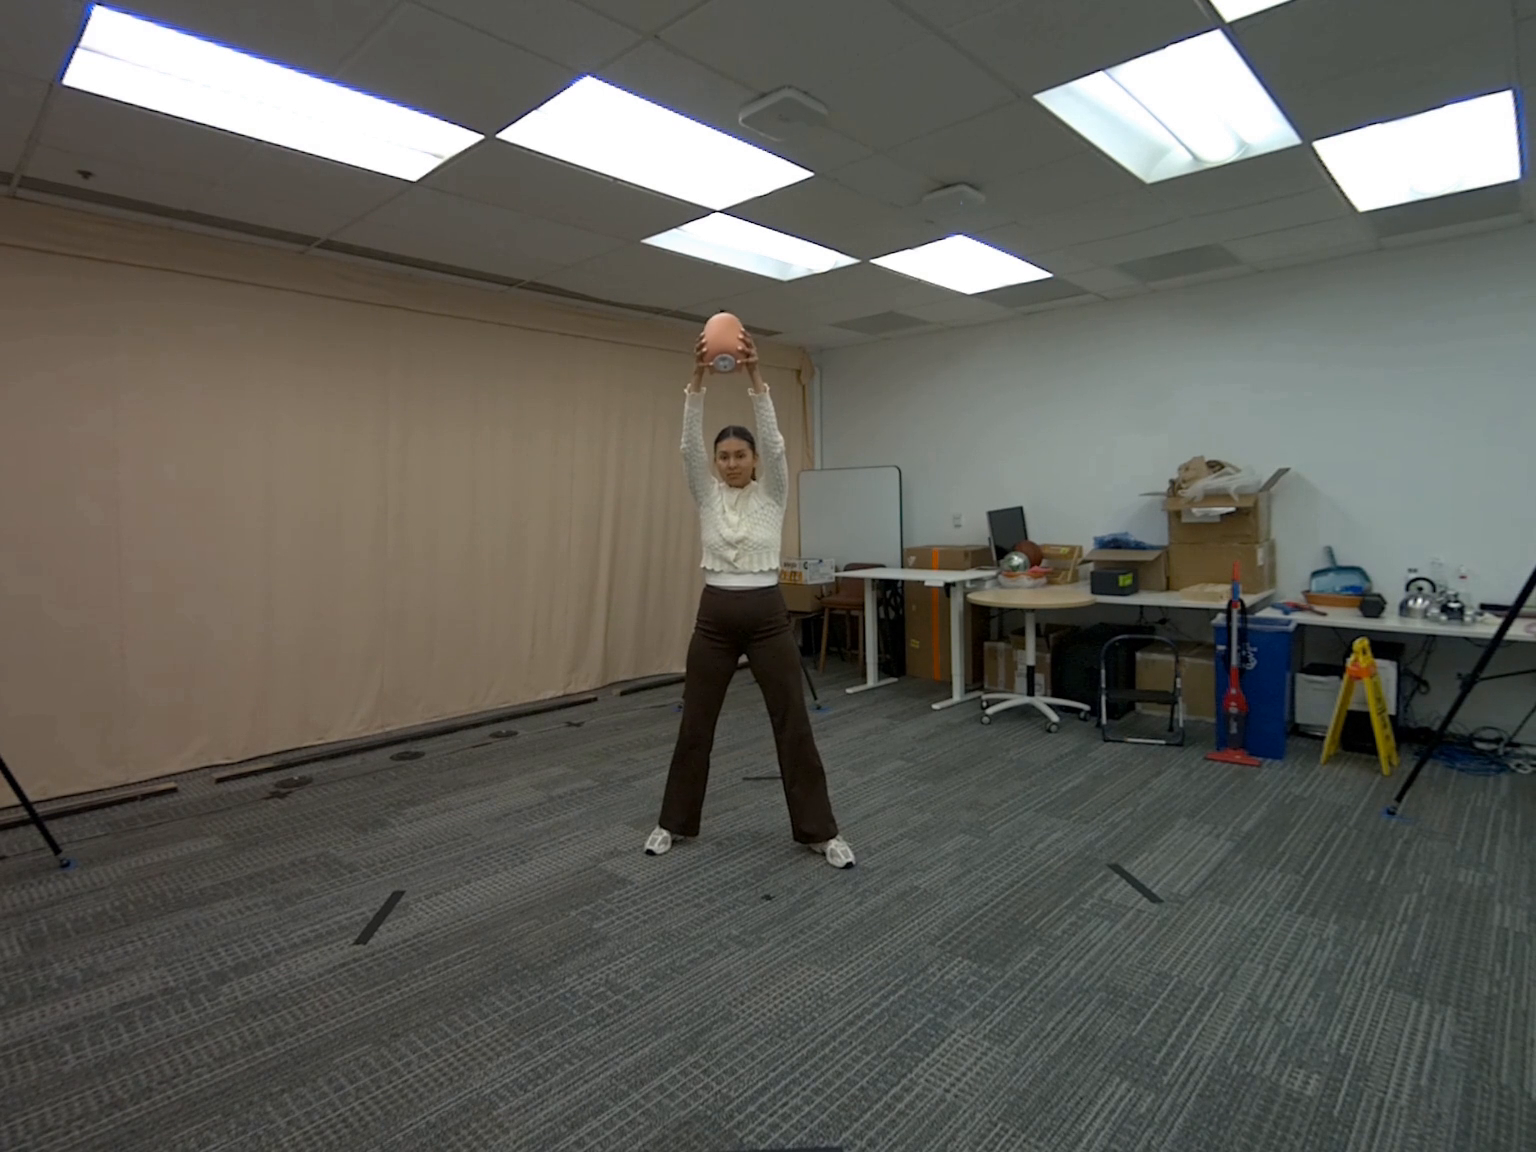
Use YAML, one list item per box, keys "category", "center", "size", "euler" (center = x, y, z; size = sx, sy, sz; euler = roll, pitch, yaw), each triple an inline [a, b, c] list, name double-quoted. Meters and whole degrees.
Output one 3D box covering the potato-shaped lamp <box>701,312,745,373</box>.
- category: "potato-shaped lamp"
  center: [-0.154, -0.817, 2.955]
  size: [0.166, 0.202, 0.167]
  euler: [-9, -29, 6]
